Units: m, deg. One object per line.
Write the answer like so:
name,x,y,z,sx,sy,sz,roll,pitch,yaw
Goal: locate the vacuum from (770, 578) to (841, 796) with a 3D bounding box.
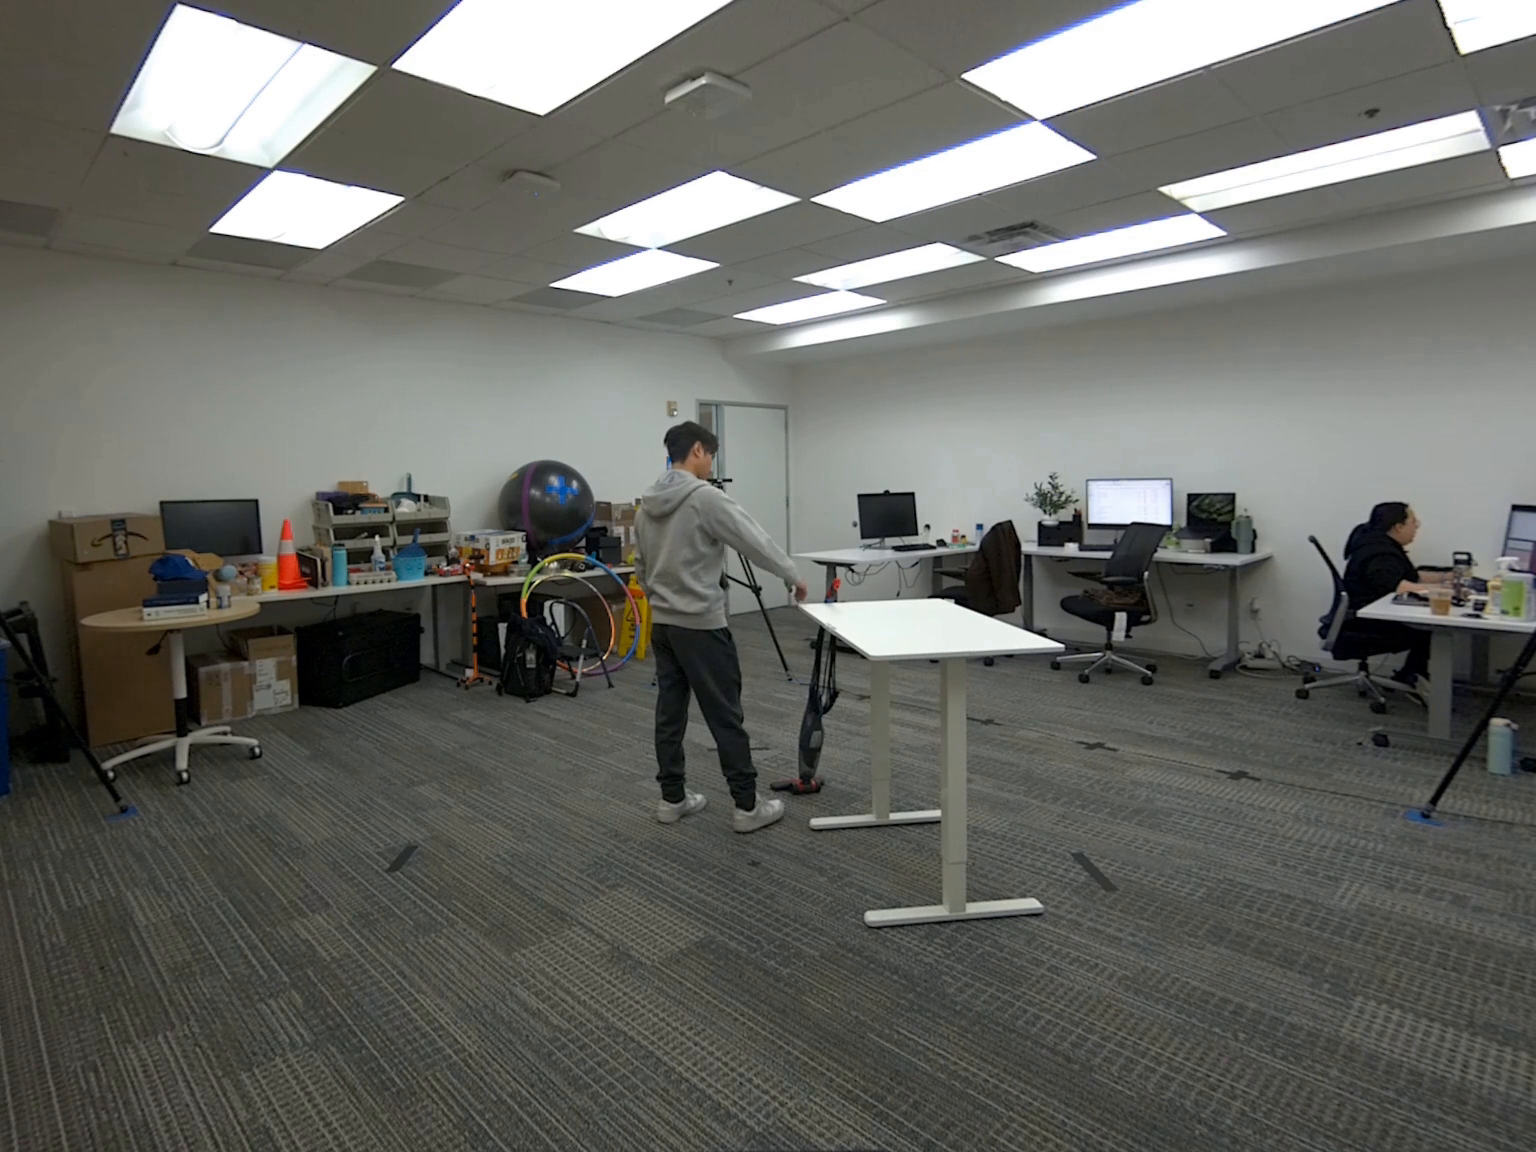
vacuum,0.221,0.496,3.640,0.247,1.032,0.149,-3,26,-24
